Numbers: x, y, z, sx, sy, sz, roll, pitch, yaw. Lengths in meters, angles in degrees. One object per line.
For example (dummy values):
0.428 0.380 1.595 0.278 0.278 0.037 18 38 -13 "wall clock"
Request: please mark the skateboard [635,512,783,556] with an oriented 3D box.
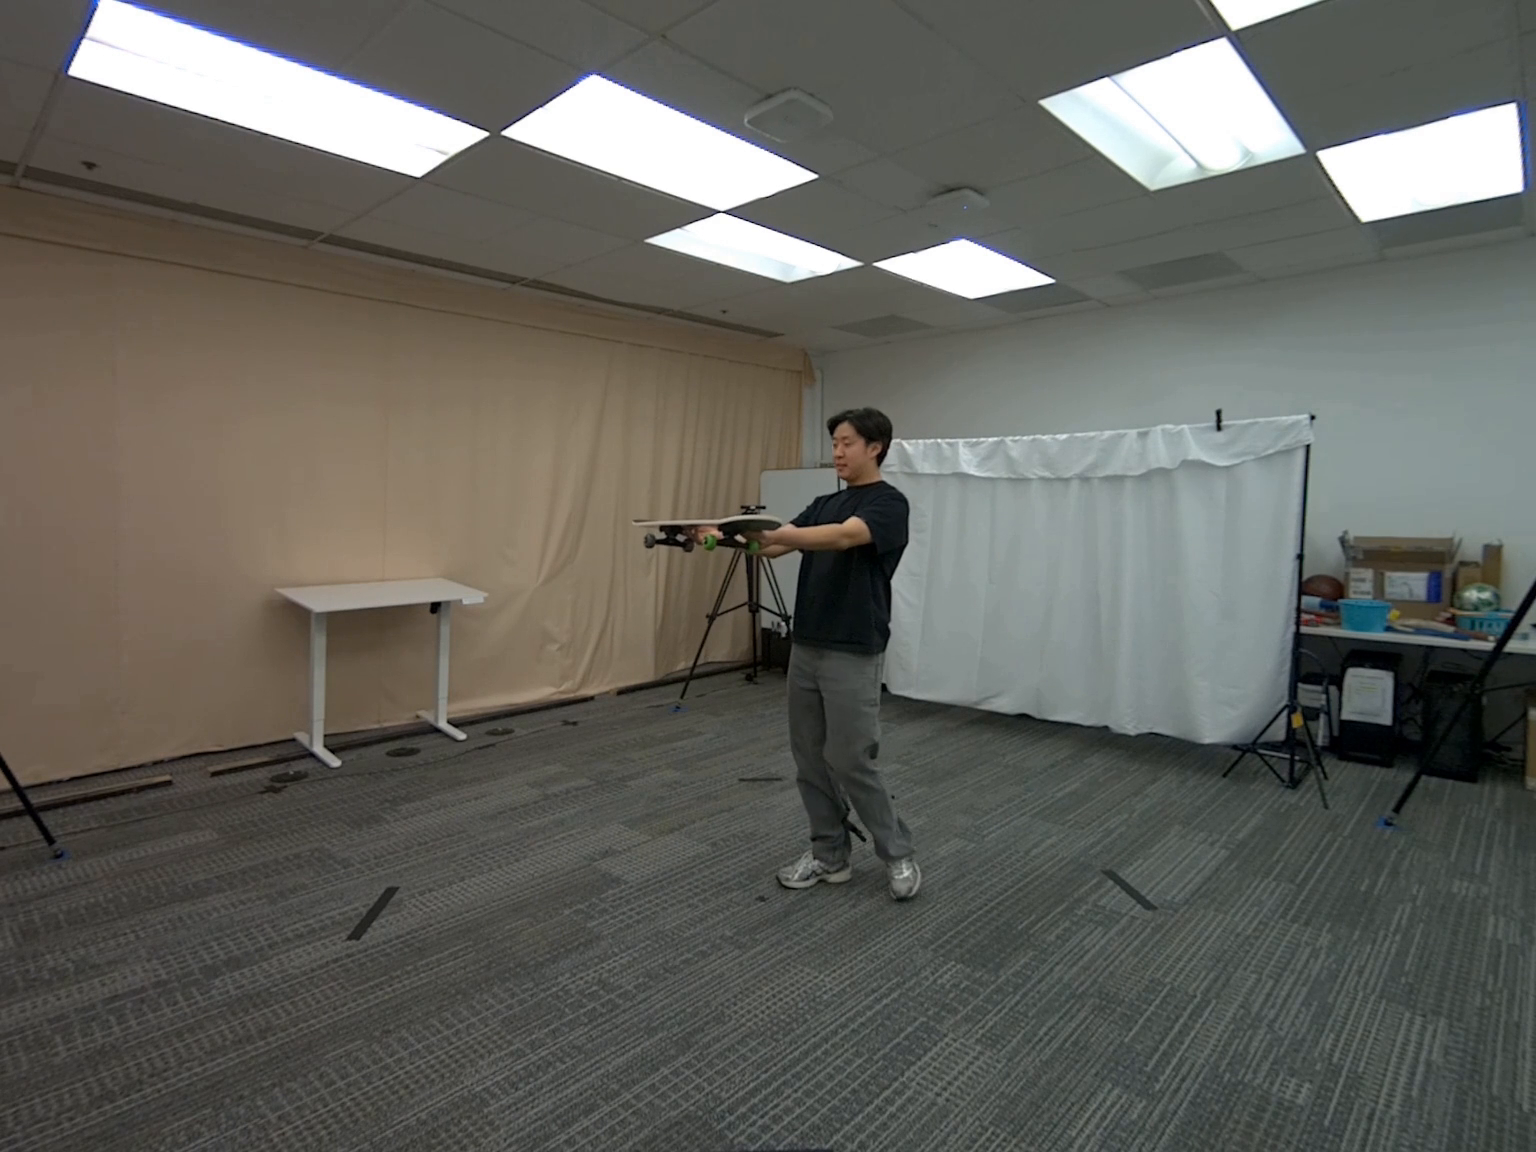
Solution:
-0.217 -0.134 2.793 0.187 0.110 0.808 7 -2 -33 "skateboard"
